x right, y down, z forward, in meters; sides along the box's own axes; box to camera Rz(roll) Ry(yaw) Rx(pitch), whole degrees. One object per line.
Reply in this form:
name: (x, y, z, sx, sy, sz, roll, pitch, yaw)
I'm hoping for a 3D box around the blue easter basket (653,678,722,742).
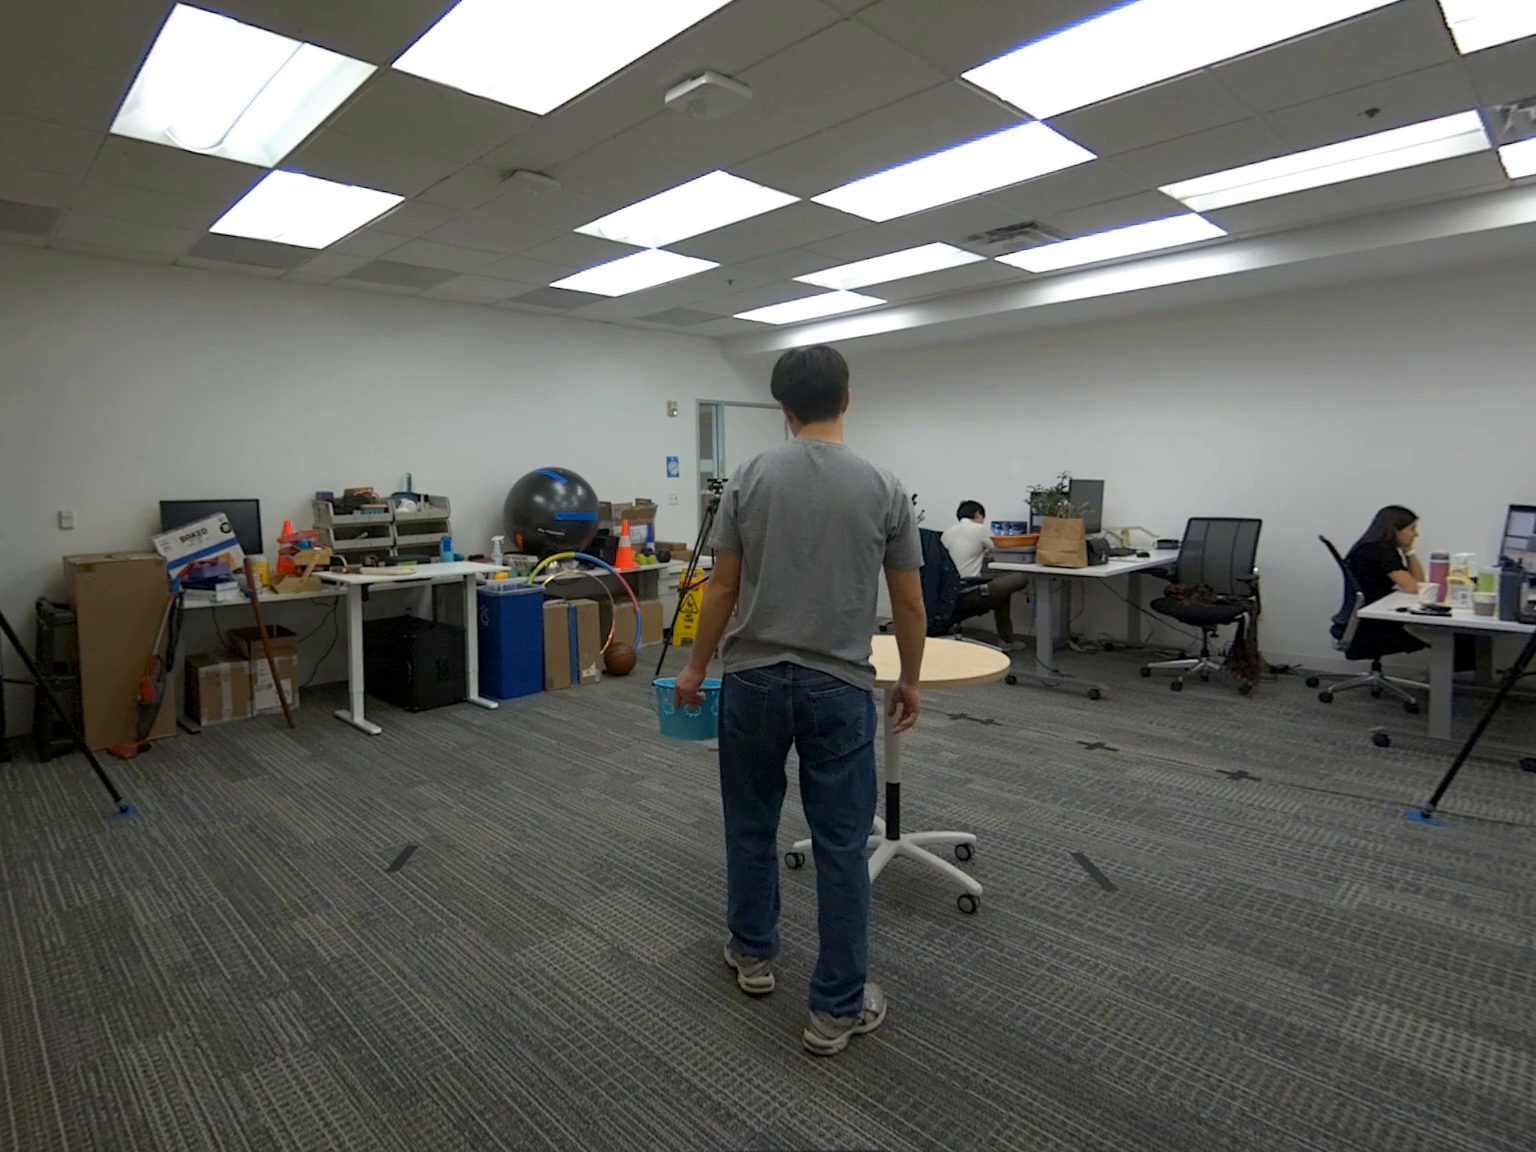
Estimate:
blue easter basket: (-0.211, 0.392, 2.496, 0.243, 0.156, 0.243, 1, 0, -2)
